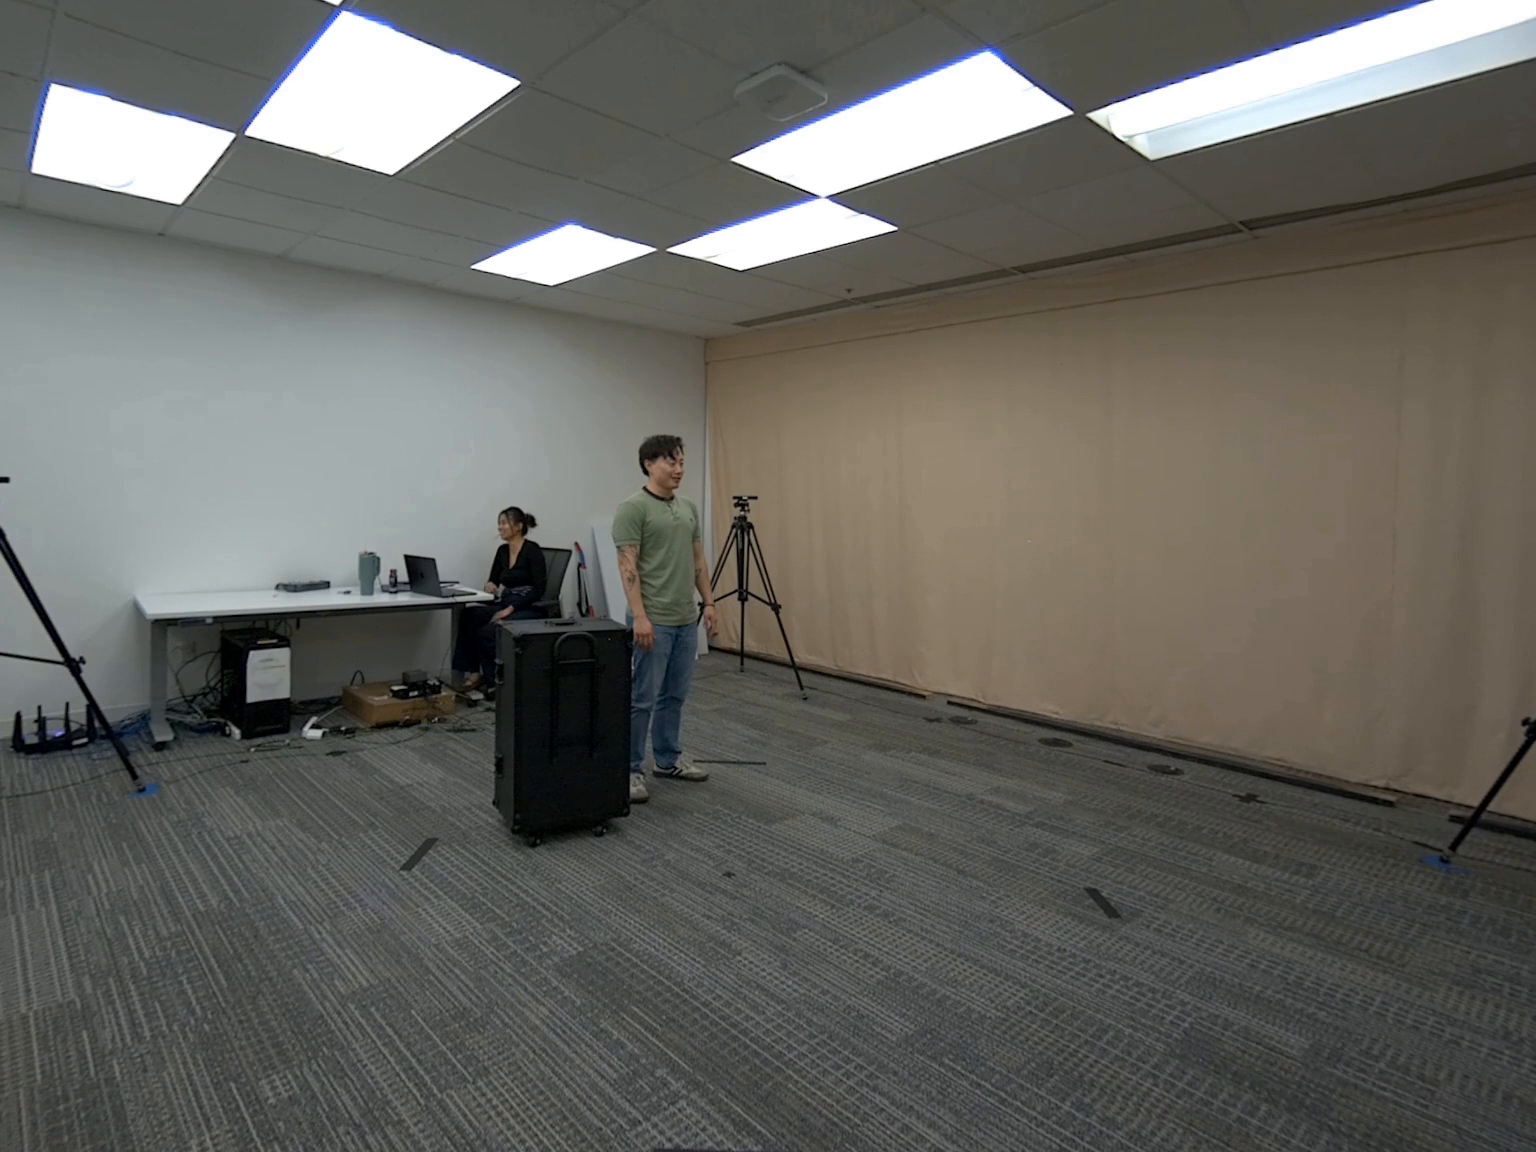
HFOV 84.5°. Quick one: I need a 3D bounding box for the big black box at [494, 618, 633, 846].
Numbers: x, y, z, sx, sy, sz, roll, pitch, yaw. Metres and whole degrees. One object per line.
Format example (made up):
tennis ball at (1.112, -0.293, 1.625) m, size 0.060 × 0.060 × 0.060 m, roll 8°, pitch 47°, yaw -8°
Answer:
big black box at (-0.860, 0.624, 3.485) m, size 0.511 × 0.859 × 0.405 m, roll 0°, pitch 5°, yaw -28°
